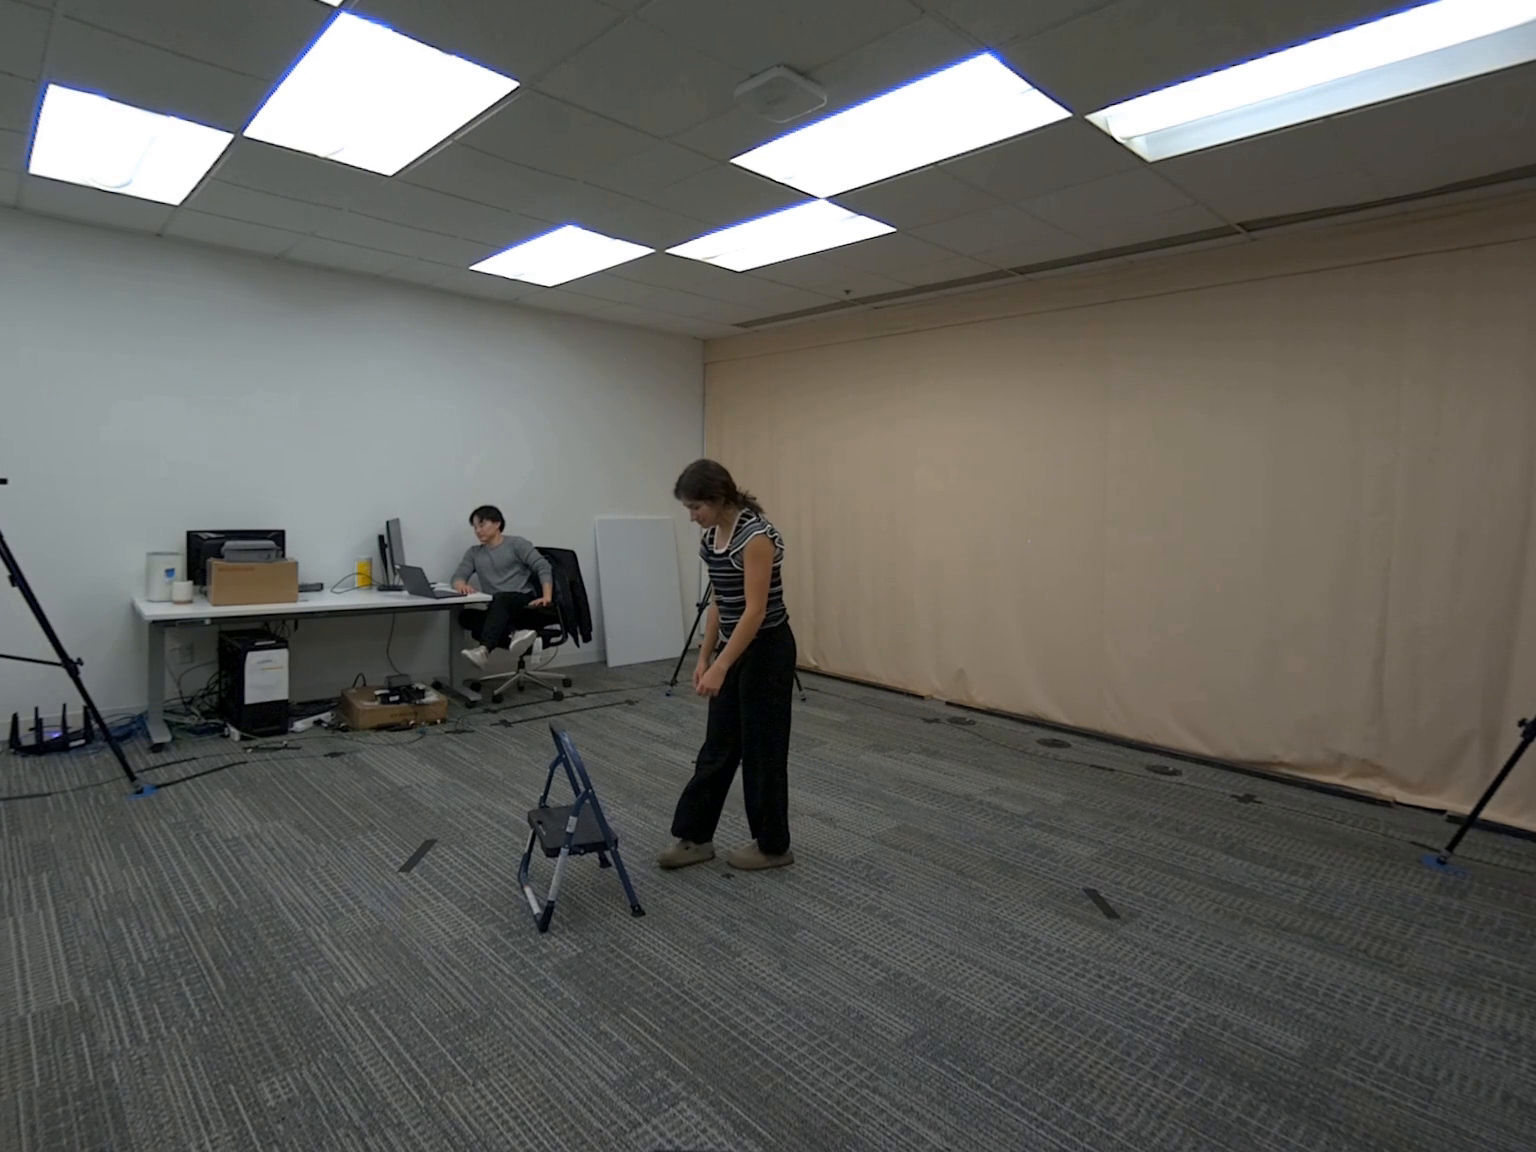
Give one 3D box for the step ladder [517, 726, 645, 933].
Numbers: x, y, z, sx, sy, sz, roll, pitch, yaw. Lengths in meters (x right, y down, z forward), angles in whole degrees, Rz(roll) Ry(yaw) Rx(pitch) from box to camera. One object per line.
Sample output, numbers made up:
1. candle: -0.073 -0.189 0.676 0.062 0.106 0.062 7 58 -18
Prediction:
1. step ladder: -0.658 0.812 2.901 0.343 0.604 0.439 -1 4 -26
